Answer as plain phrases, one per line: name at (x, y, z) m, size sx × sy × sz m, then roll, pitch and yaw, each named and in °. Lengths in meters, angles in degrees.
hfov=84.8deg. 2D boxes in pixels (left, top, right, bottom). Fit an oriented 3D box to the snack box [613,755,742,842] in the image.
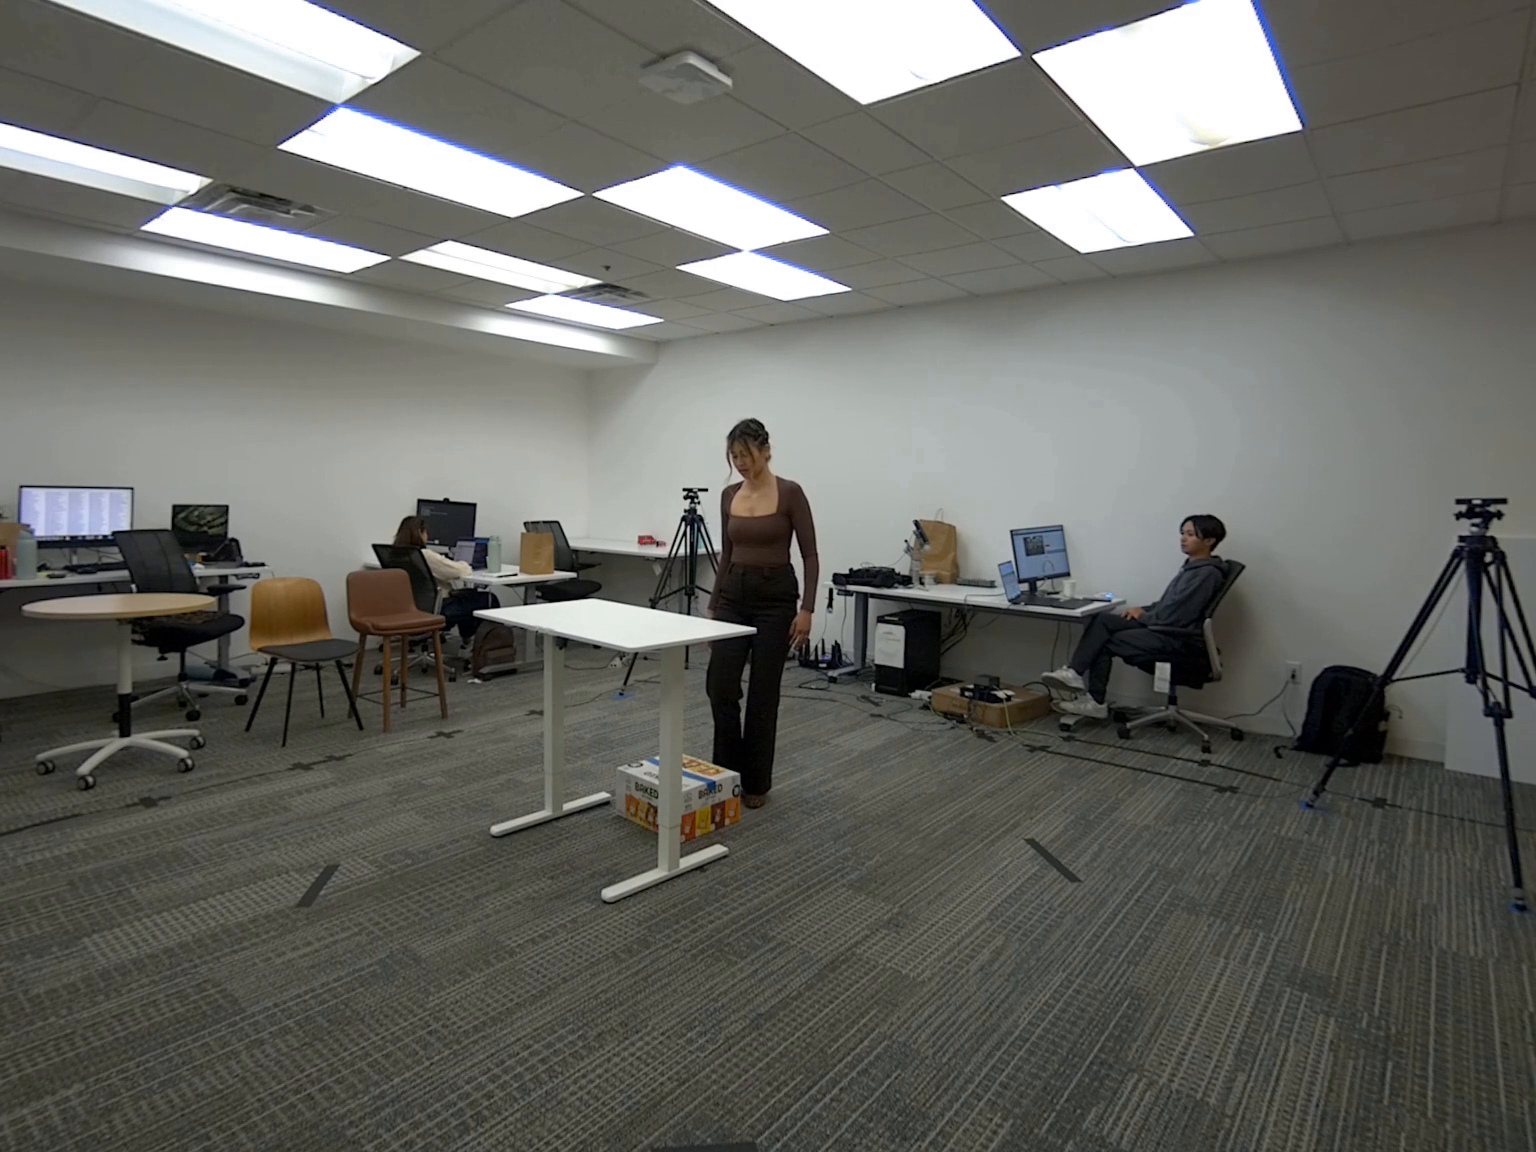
snack box at (-0.394, 0.919, 3.585) m, size 0.419 × 0.205 × 0.330 m, roll 6°, pitch 7°, yaw 43°
